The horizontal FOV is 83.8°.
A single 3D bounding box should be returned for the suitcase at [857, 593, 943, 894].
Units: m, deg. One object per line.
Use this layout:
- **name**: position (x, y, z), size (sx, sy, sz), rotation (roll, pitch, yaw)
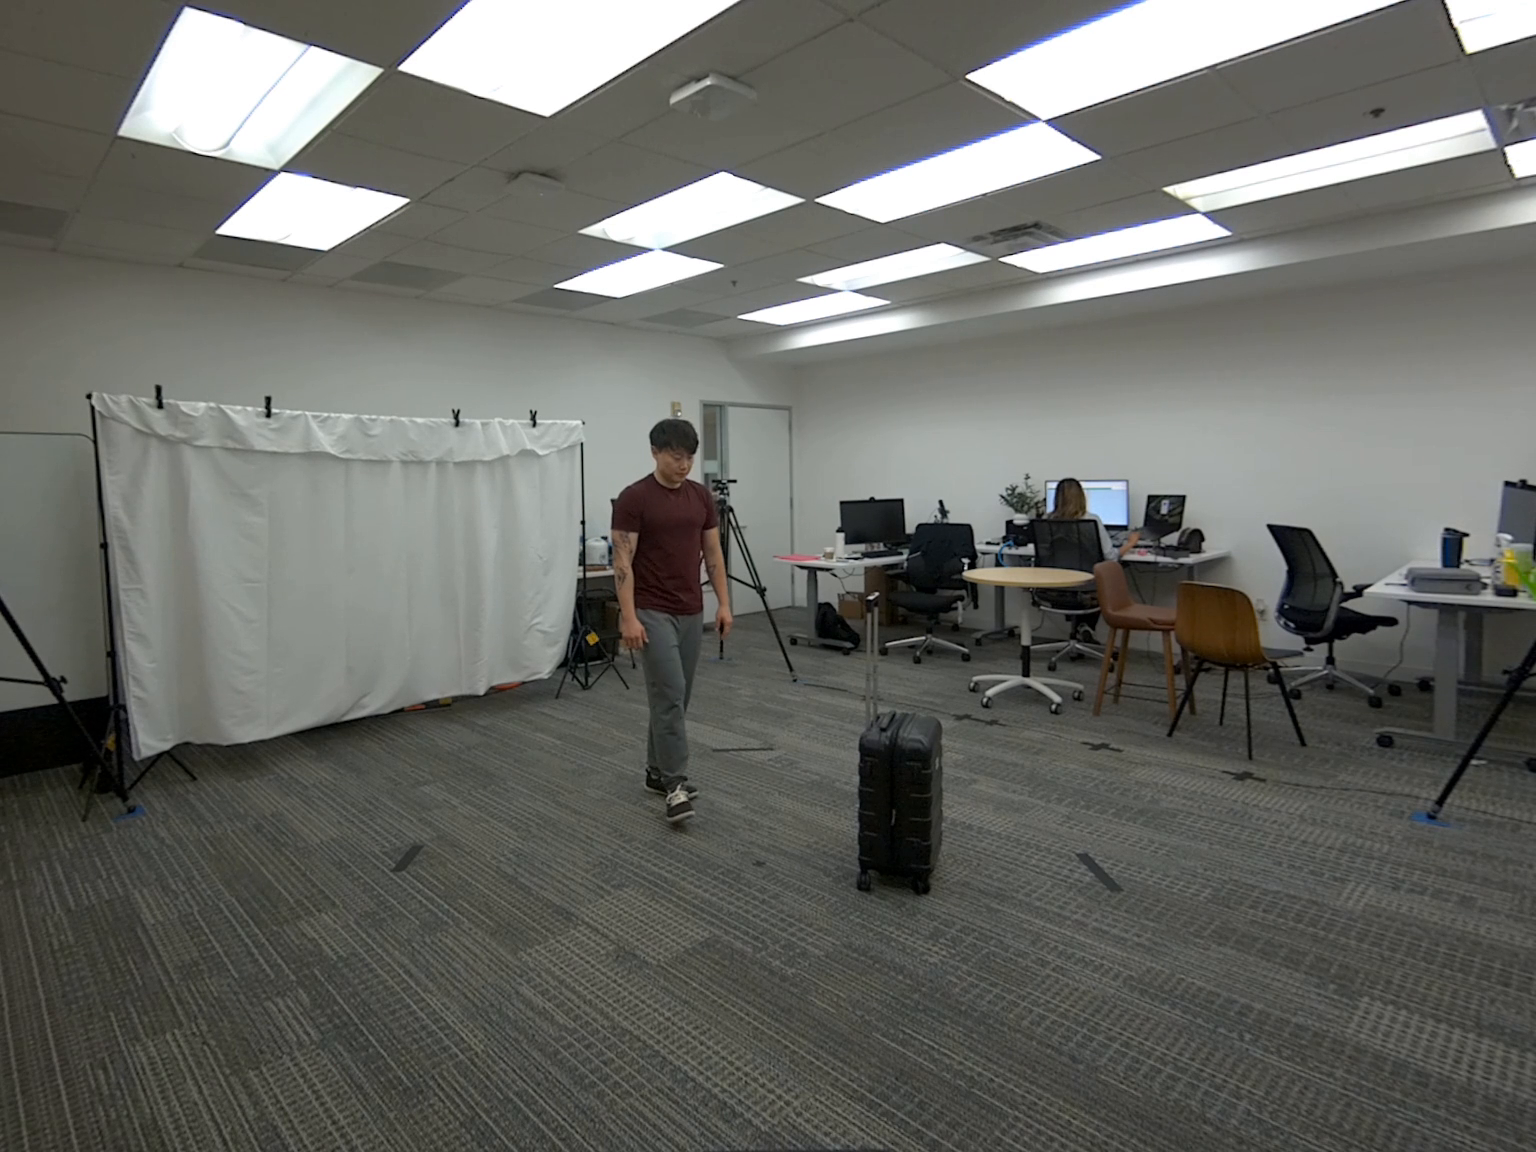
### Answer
- **suitcase**: position (0.478, 0.571, 2.993), size (0.262, 0.975, 0.378), rotation (3, 4, 18)
